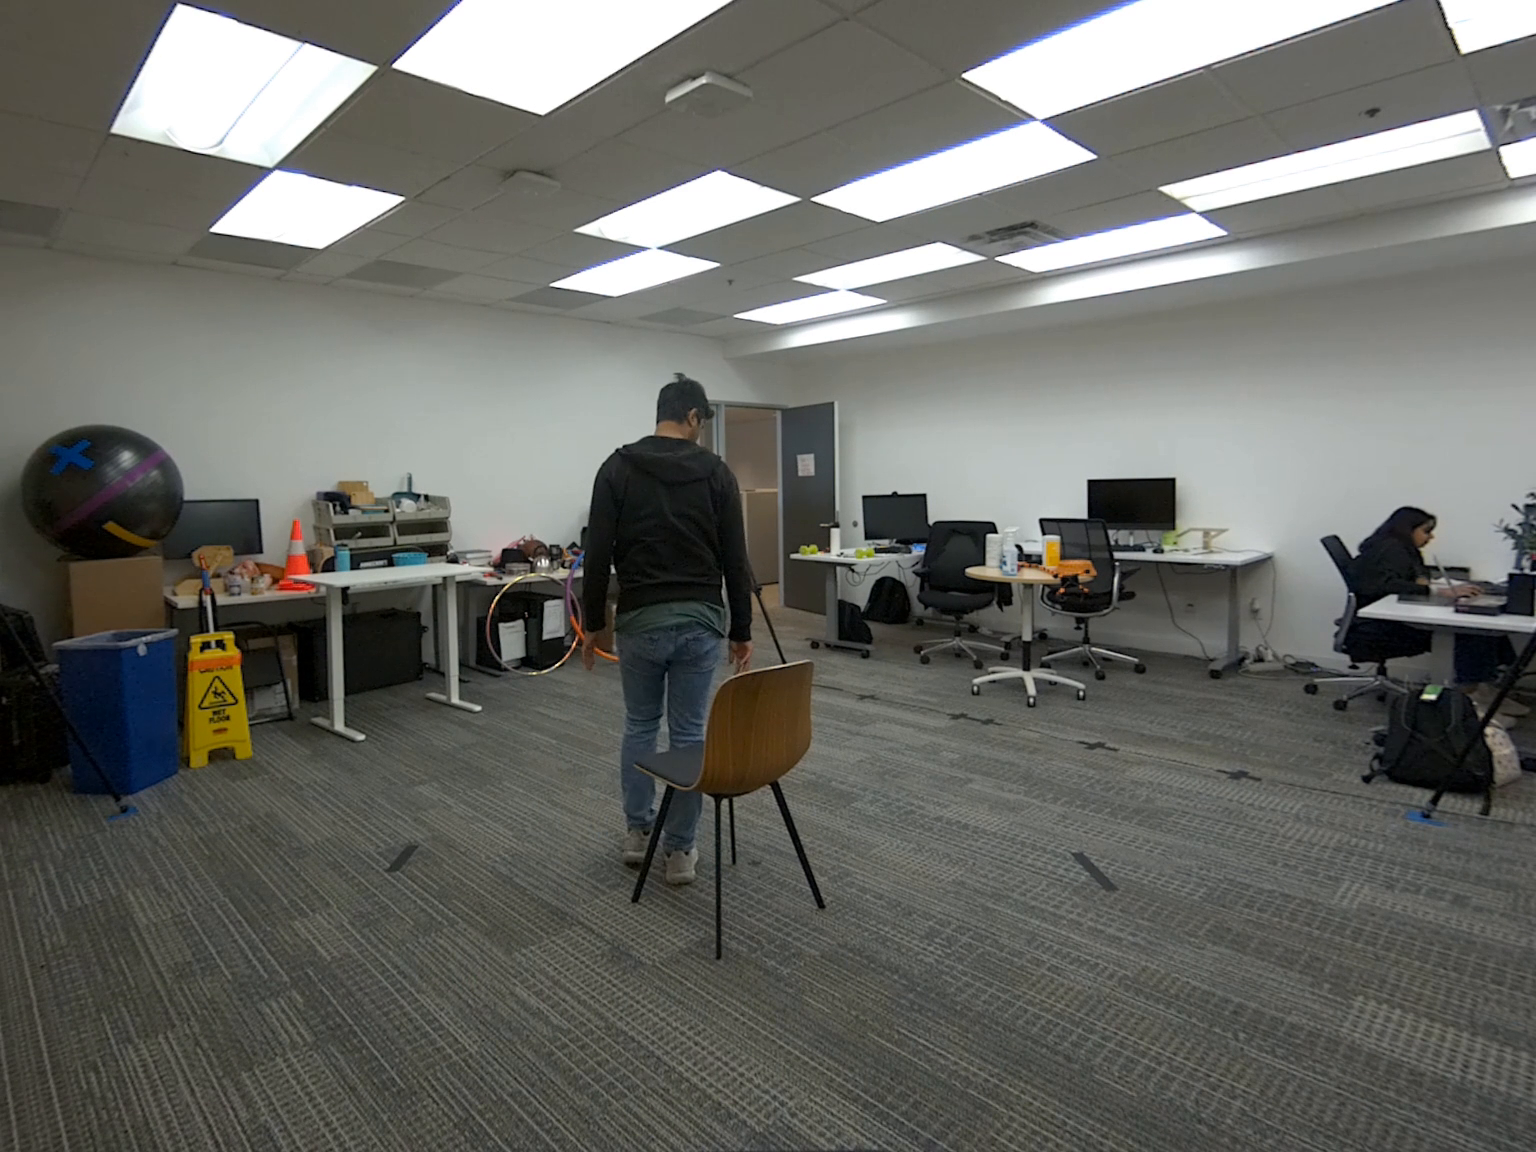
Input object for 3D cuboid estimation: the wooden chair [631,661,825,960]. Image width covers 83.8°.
[{"bbox_3d":[-0.136,0.657,2.781,0.466,0.871,0.541,-5,11,-41],"label":"wooden chair"}]
